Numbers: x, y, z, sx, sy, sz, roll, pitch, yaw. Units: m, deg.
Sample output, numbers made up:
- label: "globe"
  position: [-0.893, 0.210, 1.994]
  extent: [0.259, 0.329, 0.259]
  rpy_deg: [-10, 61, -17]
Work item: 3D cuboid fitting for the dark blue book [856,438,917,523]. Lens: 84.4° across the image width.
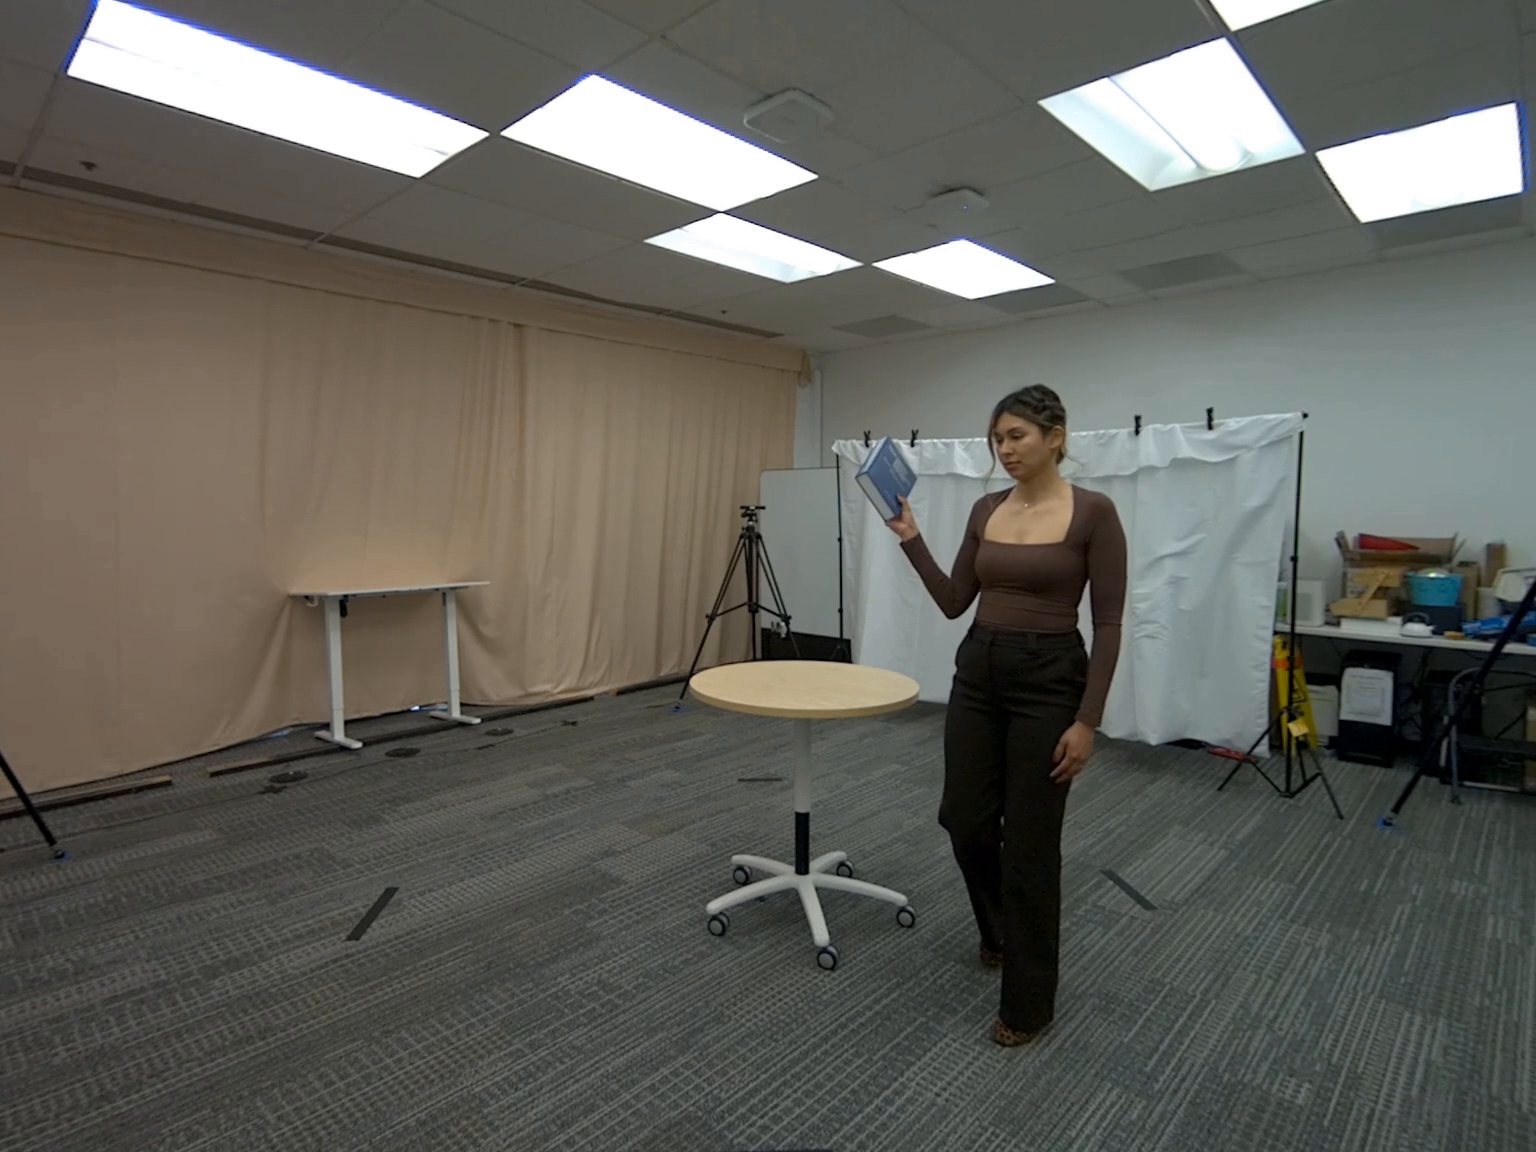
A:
- label: "dark blue book"
  position: [0.357, -0.289, 2.473]
  extent: [0.046, 0.161, 0.244]
  rpy_deg: [-28, 18, 37]
